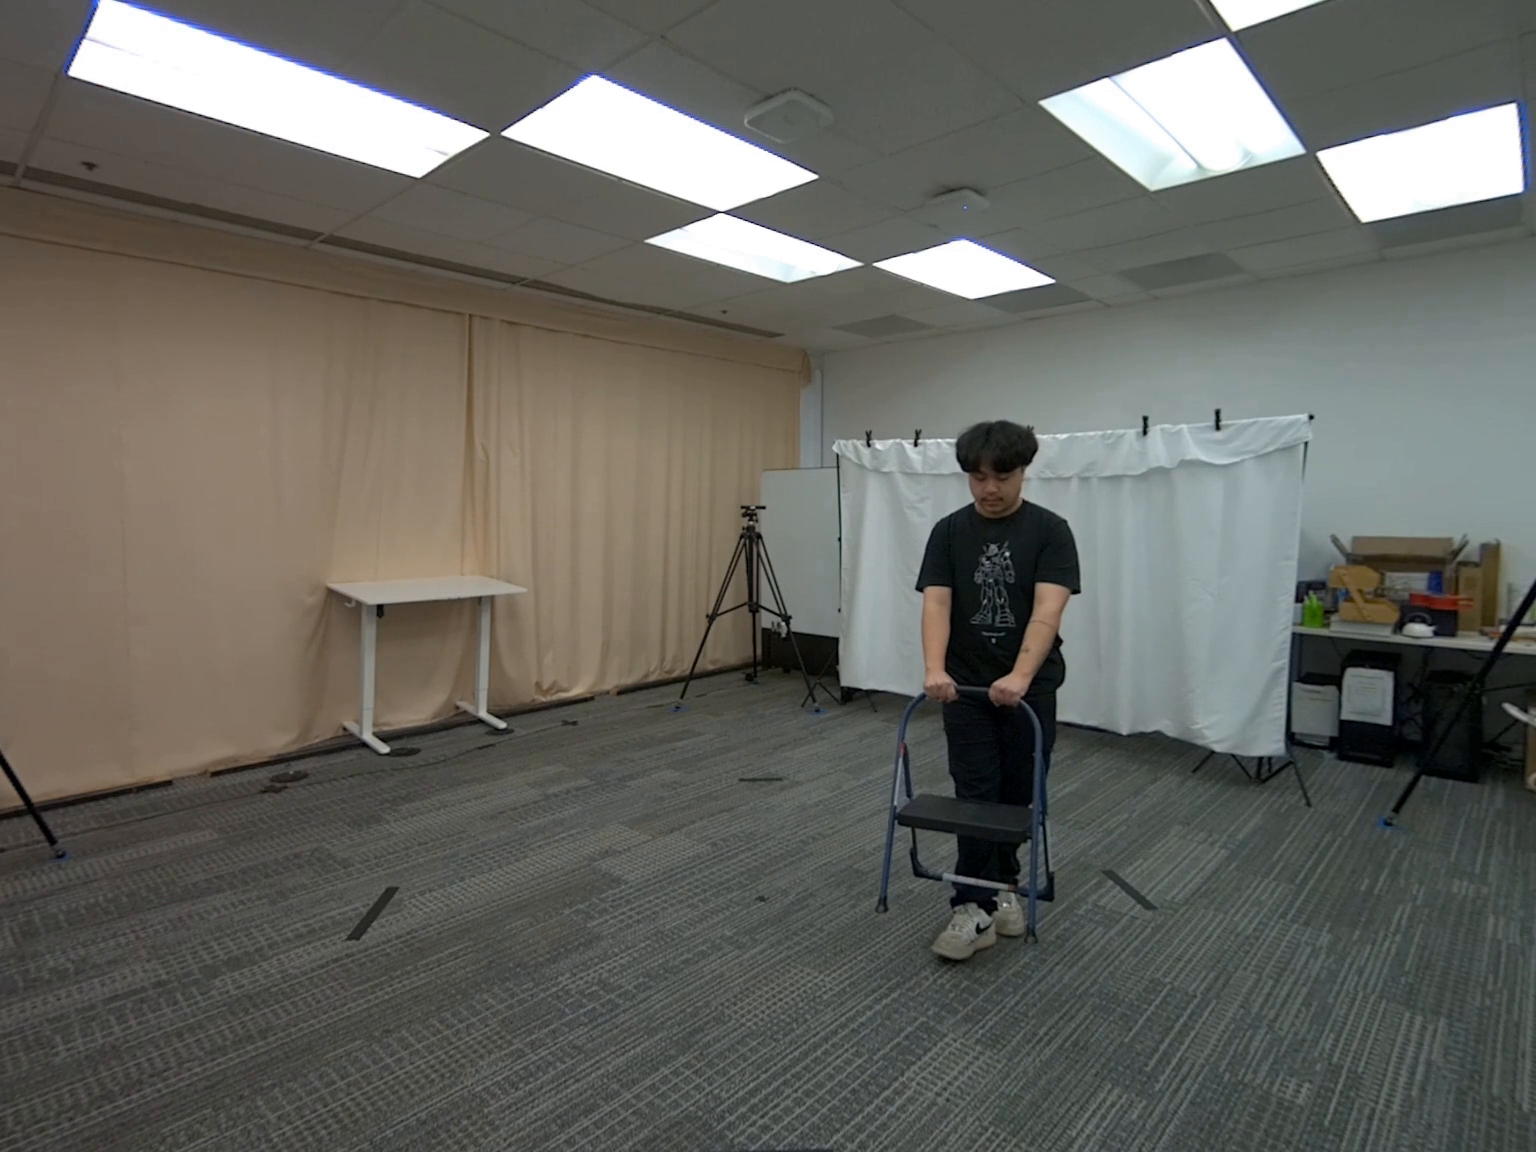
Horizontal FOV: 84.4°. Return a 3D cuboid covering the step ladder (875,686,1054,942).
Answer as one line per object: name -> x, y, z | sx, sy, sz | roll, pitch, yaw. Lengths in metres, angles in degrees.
step ladder -> 0.576, 0.638, 2.395 | 0.442, 0.606, 0.339 | -1, -1, 28
